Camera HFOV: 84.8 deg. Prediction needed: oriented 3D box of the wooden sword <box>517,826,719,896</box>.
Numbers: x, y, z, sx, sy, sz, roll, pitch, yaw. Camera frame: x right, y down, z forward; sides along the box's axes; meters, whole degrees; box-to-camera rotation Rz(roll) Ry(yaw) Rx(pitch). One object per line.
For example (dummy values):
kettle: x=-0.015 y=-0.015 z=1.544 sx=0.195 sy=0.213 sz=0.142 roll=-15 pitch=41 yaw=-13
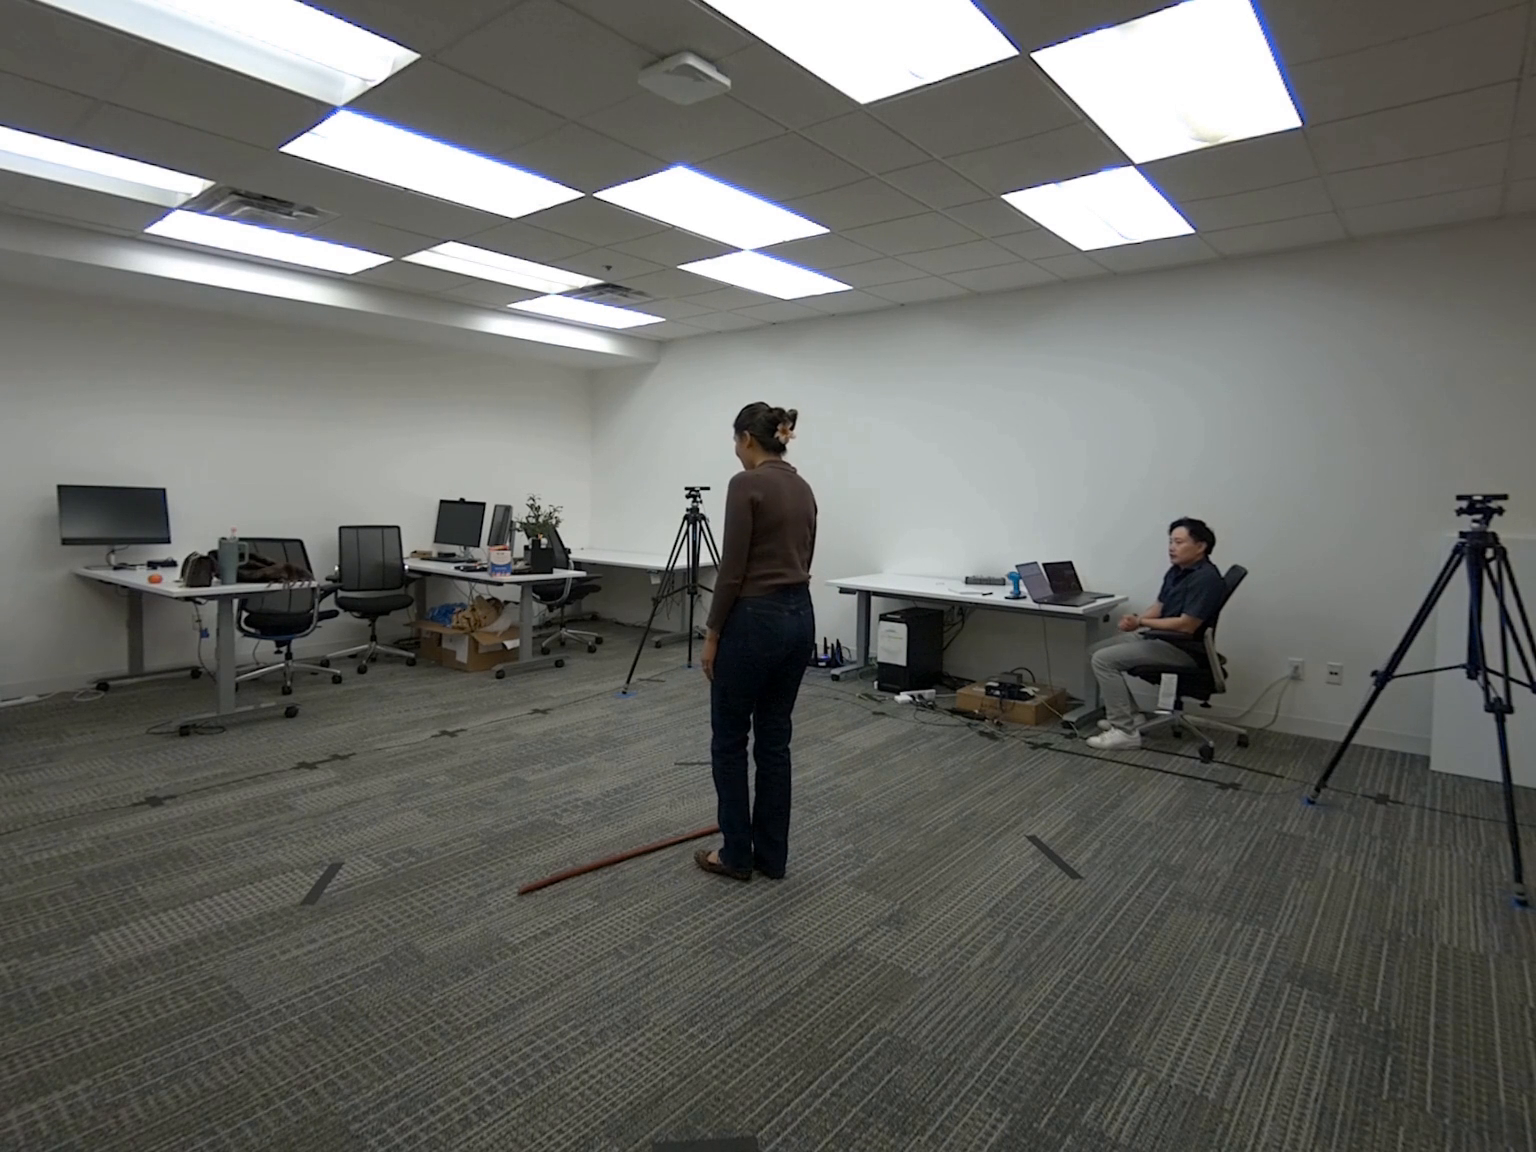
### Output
wooden sword: x=-0.484 y=1.030 z=3.203 sx=0.994 sy=0.051 sz=0.025 roll=-5 pitch=47 yaw=-41
